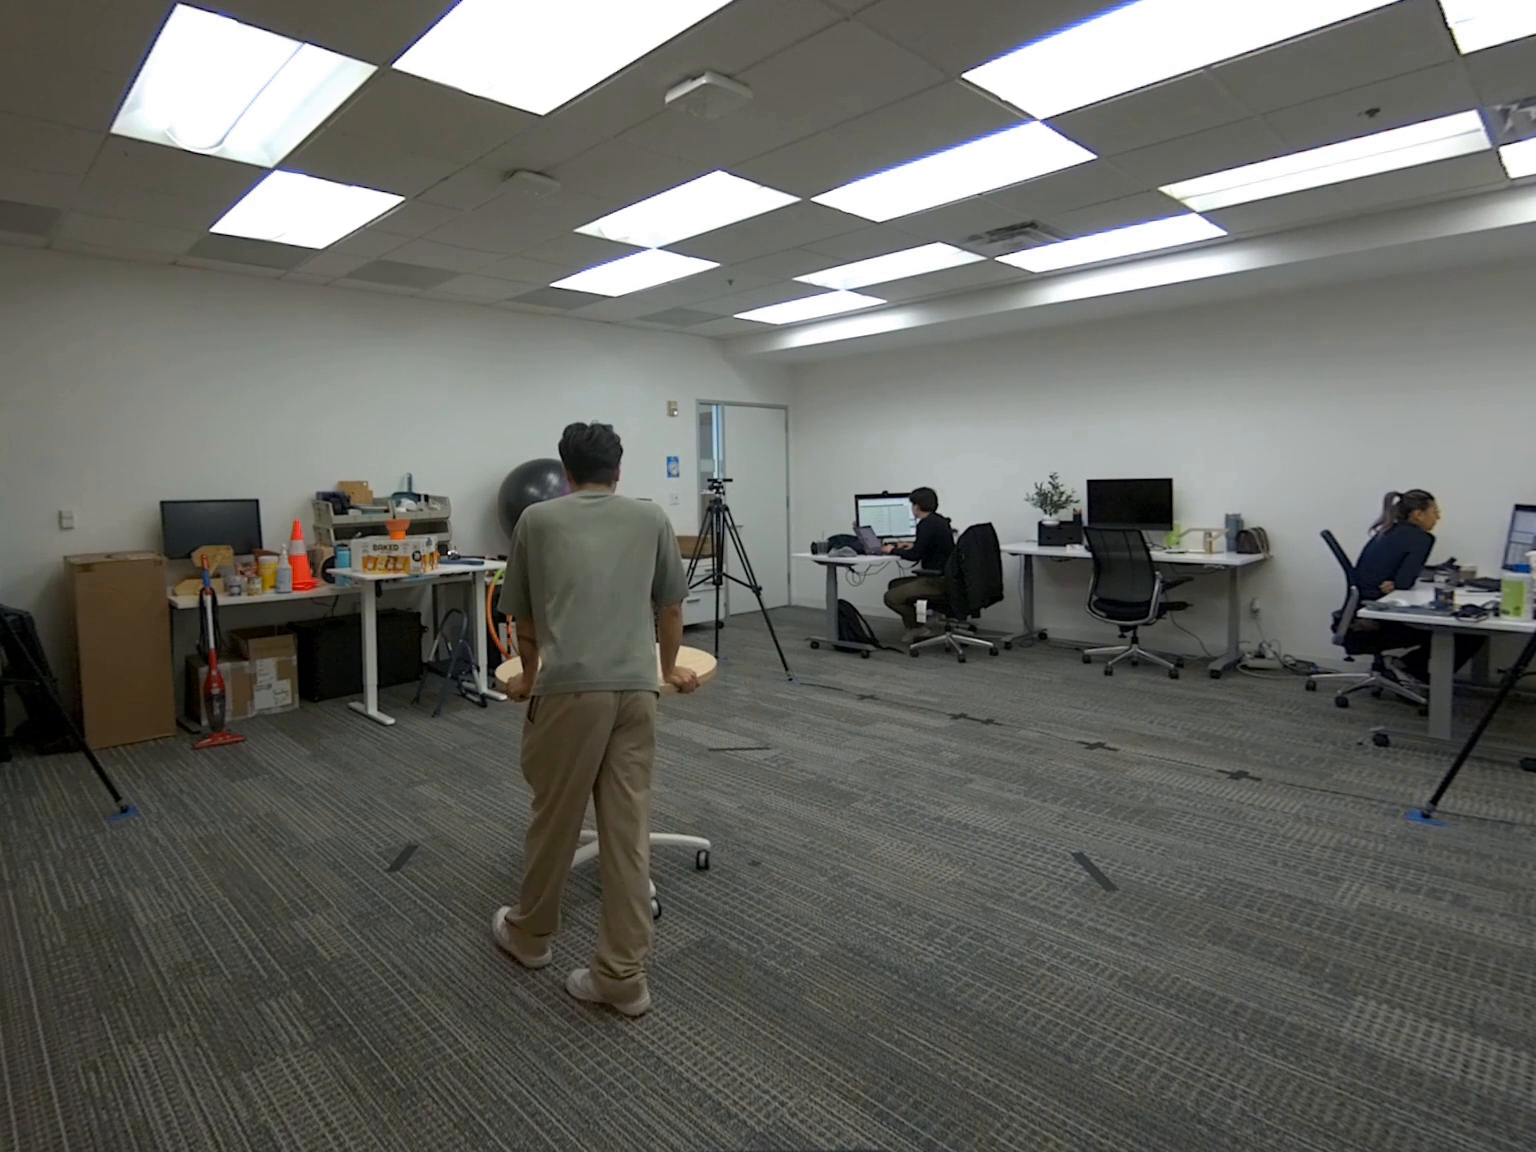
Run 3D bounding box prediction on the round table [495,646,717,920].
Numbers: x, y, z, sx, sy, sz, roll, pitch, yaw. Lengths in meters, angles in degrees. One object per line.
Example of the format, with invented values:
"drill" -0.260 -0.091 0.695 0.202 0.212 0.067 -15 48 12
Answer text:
"round table" -0.535 0.686 3.018 0.784 0.783 0.789 -2 5 -2
